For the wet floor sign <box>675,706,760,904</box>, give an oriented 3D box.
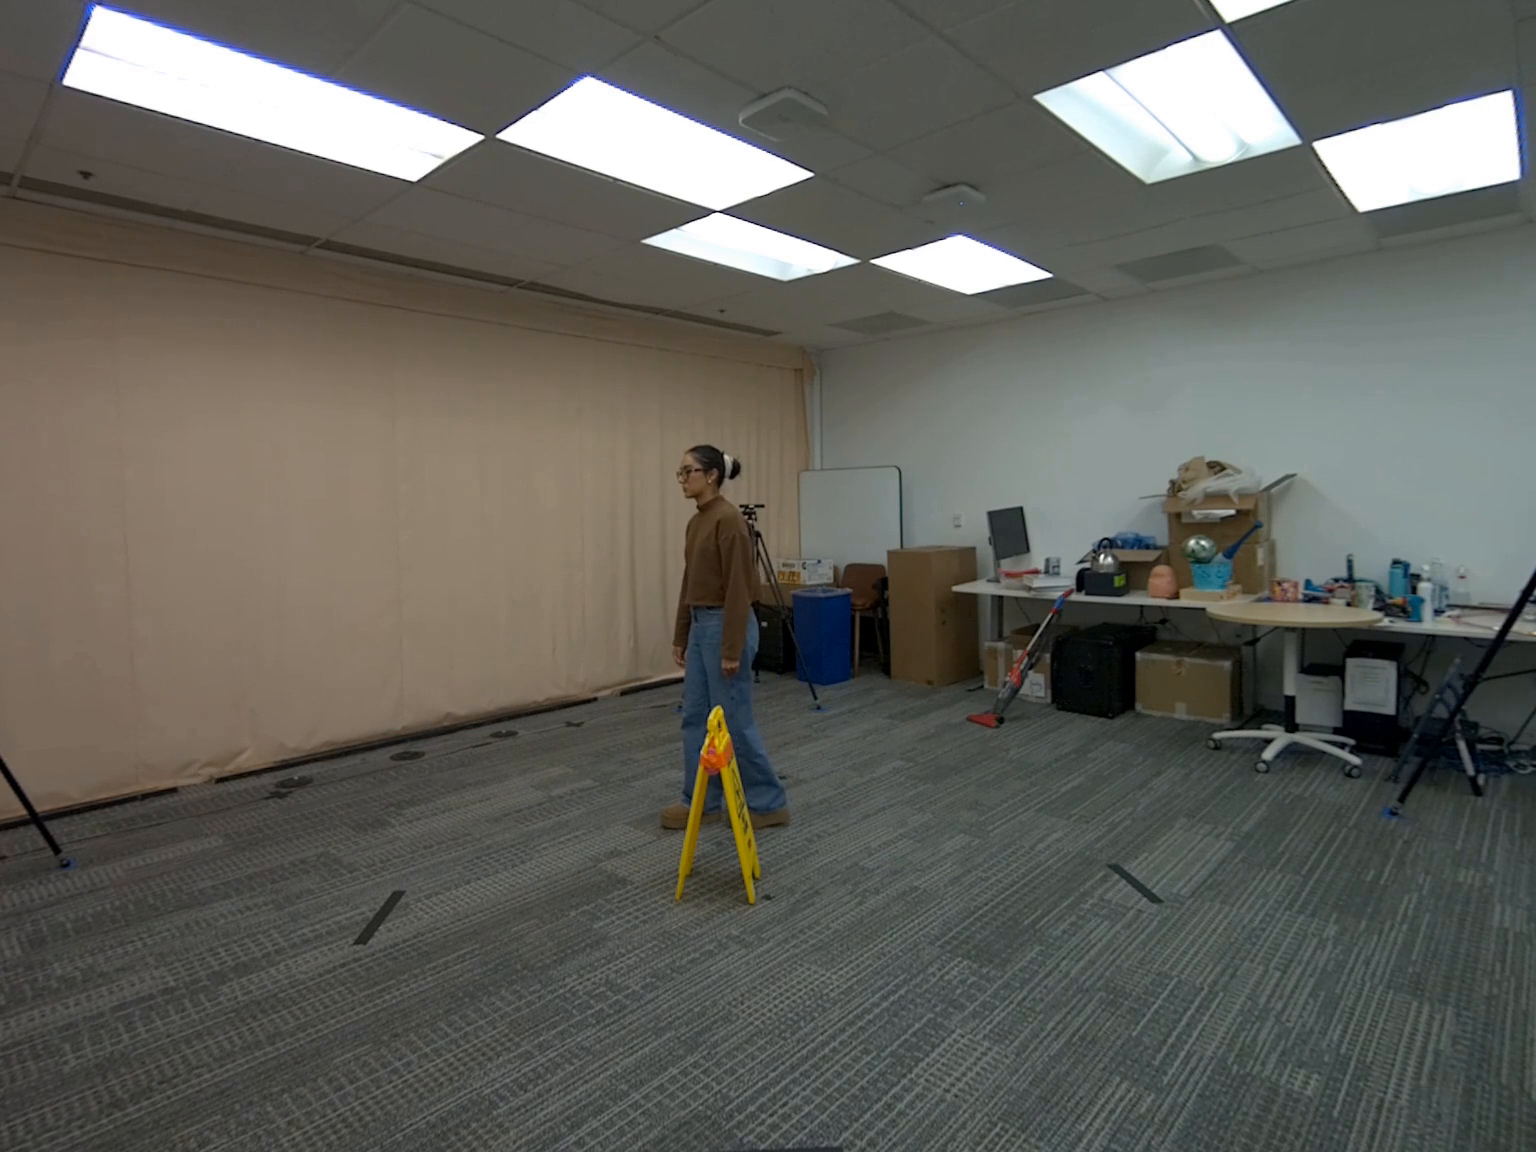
[{"bbox_3d":[-0.187,0.809,3.069,0.292,0.645,0.280,-1,2,6],"label":"wet floor sign"}]
